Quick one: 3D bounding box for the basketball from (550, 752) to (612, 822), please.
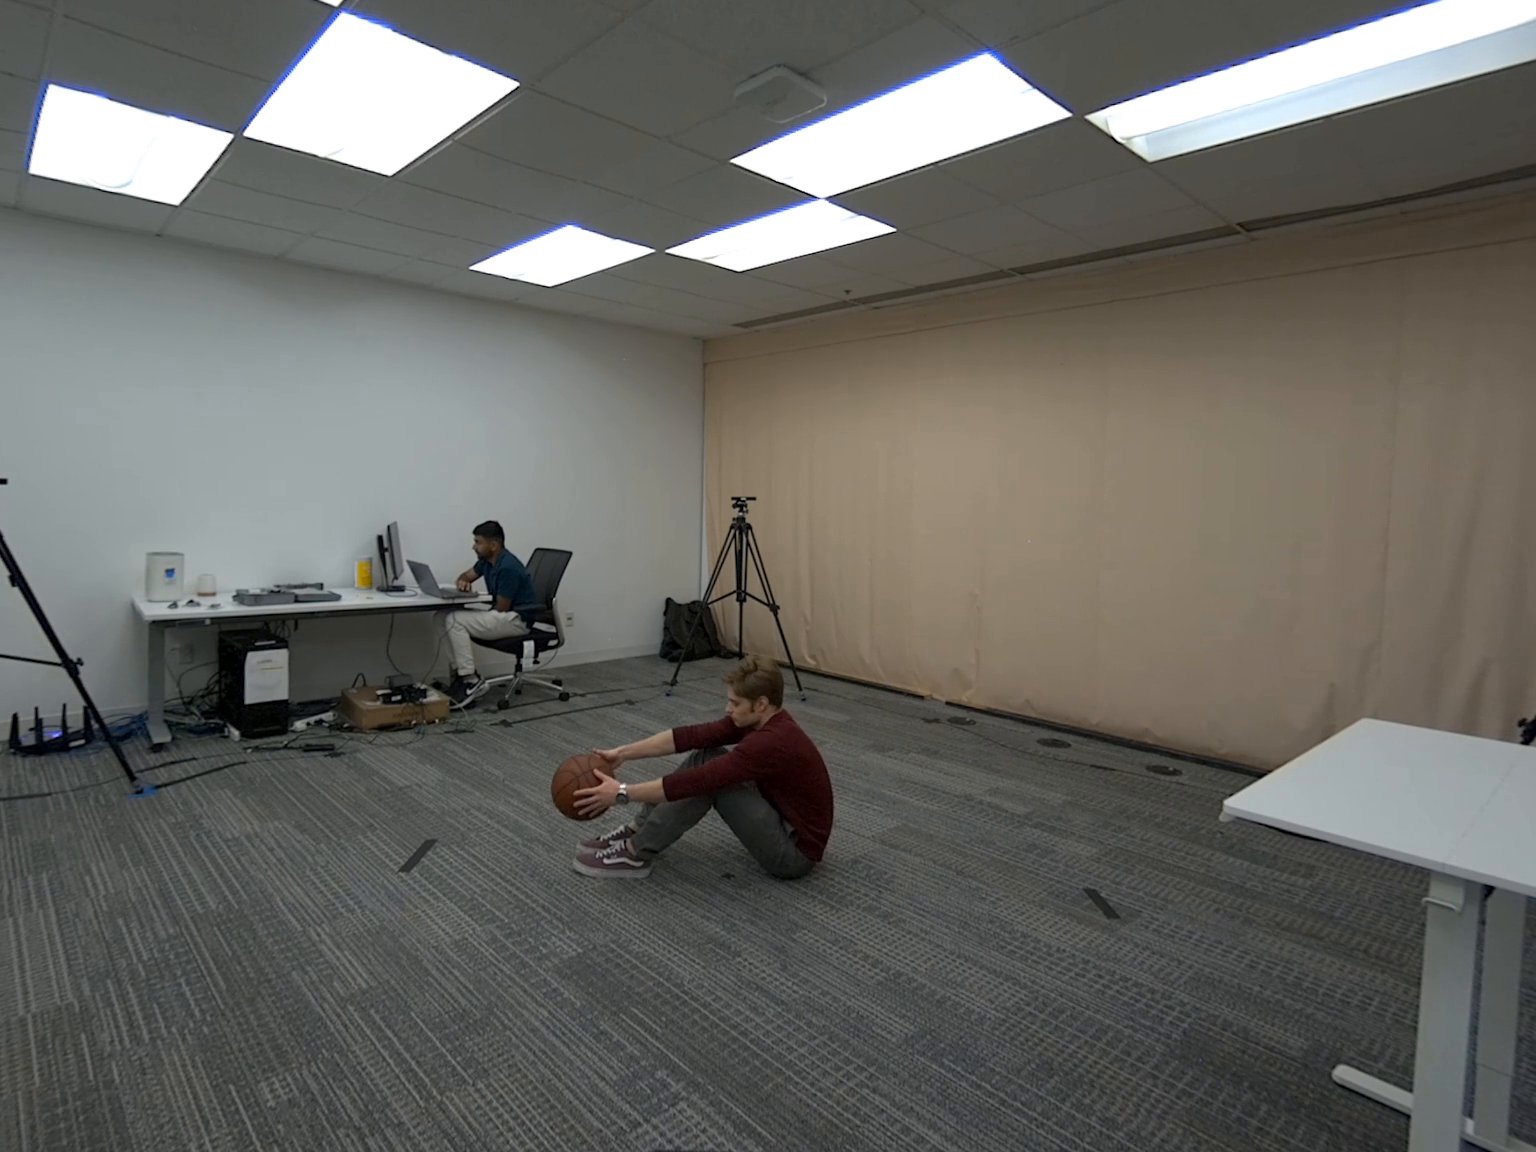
[{"bbox_3d":[-0.678,0.774,3.095,0.236,0.235,0.237,1,4,-1],"label":"basketball"}]
